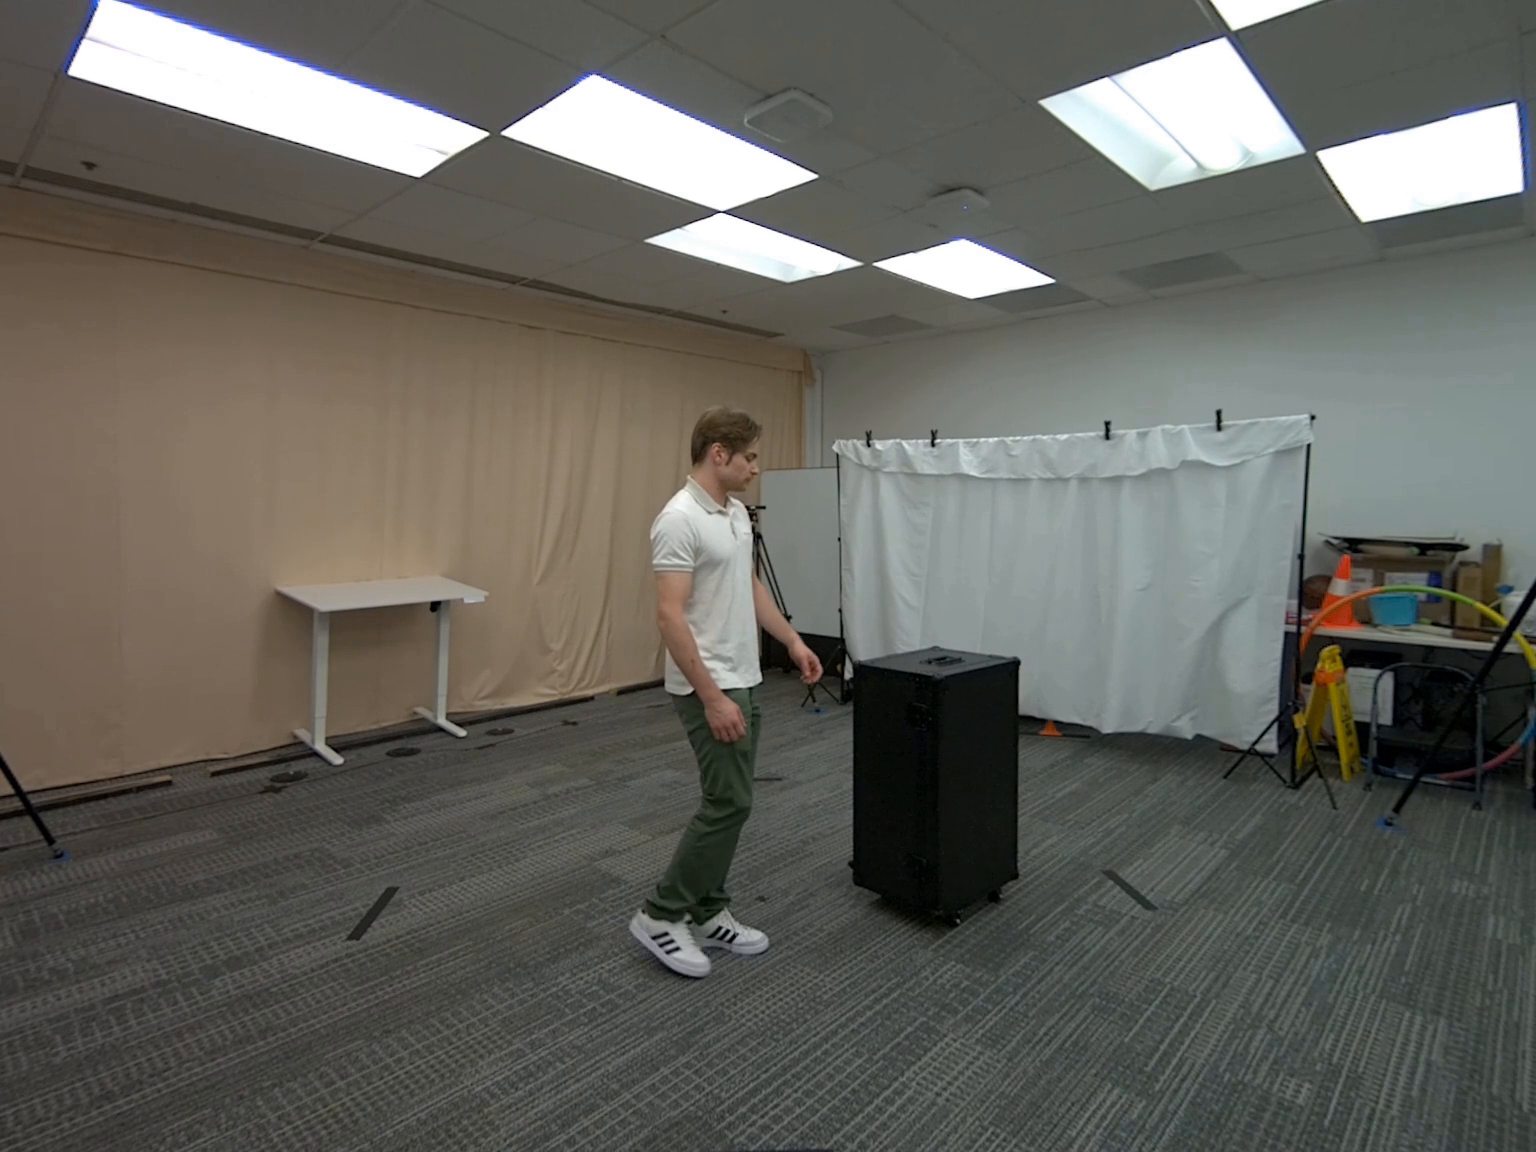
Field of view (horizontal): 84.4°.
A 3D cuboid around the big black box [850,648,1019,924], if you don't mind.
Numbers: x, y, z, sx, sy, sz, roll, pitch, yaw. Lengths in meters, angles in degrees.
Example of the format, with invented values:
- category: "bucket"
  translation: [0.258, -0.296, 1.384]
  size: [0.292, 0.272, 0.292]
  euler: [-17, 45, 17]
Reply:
- category: "big black box"
  translation: [0.587, 0.721, 2.954]
  size: [0.505, 0.860, 0.409]
  euler: [-3, 3, -42]
